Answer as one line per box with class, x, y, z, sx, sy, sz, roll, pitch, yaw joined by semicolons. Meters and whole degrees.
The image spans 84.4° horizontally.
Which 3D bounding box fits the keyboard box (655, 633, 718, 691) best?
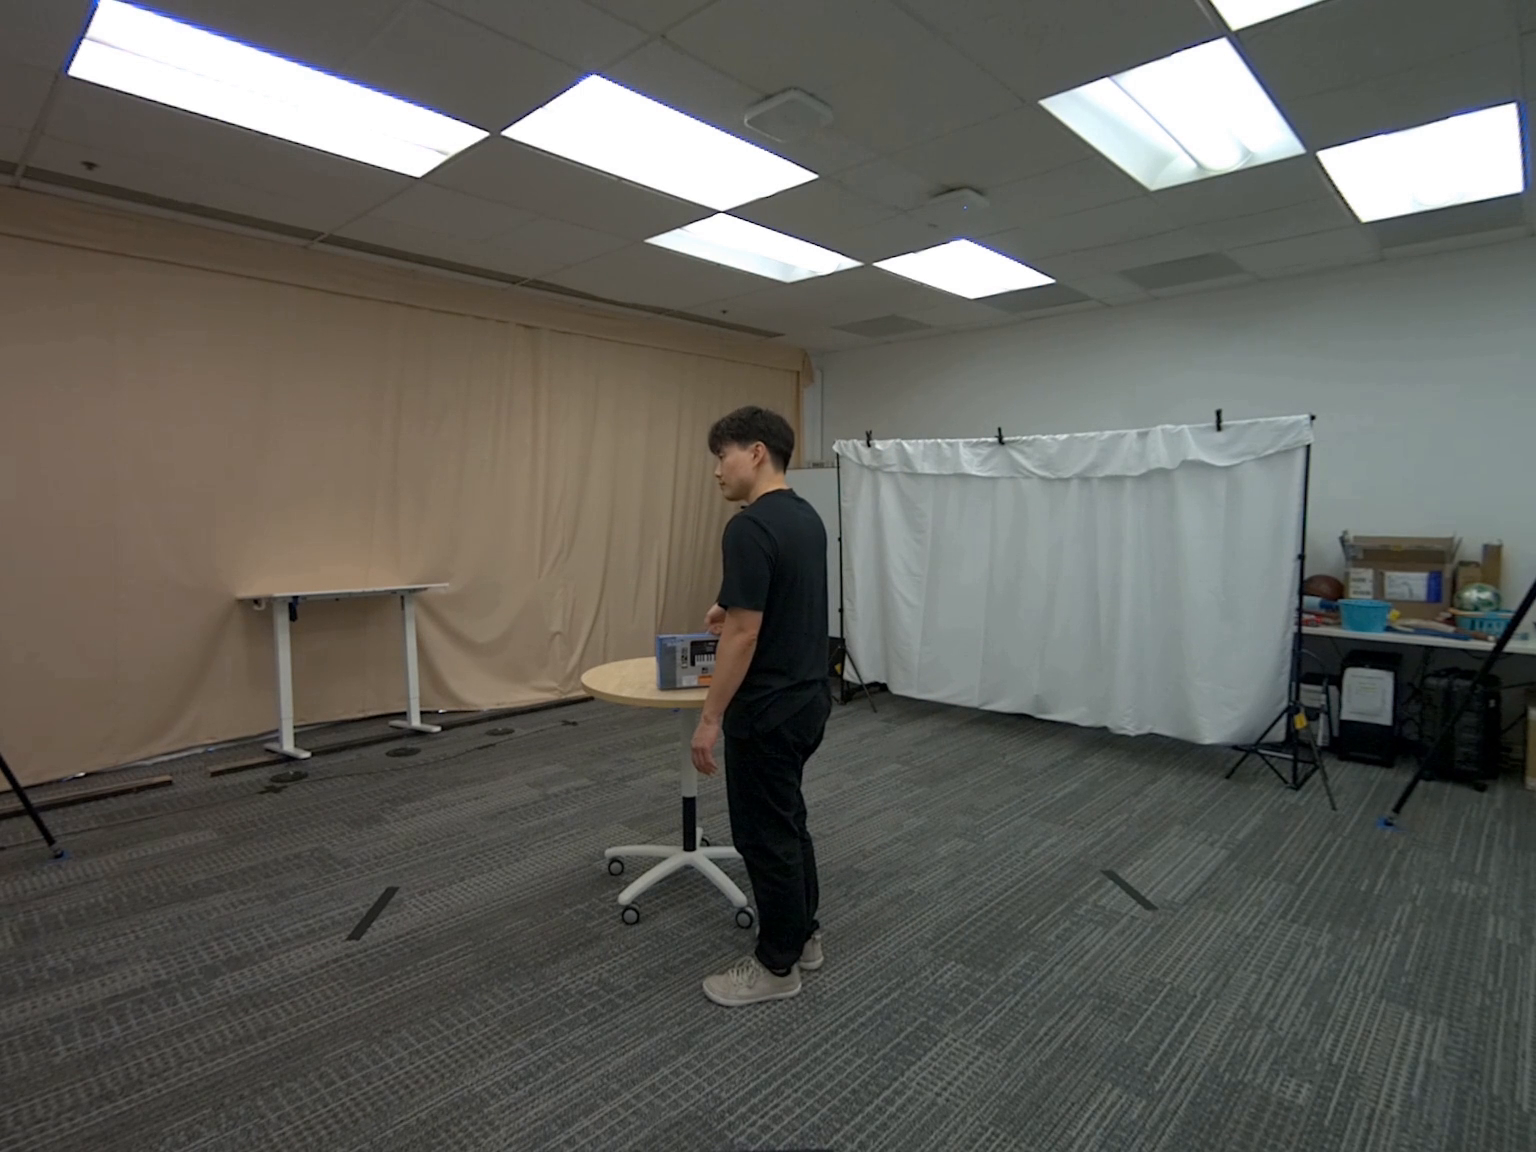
keyboard box;-0.160;0.282;2.863;0.429;0.176;0.060;-1;2;-18
